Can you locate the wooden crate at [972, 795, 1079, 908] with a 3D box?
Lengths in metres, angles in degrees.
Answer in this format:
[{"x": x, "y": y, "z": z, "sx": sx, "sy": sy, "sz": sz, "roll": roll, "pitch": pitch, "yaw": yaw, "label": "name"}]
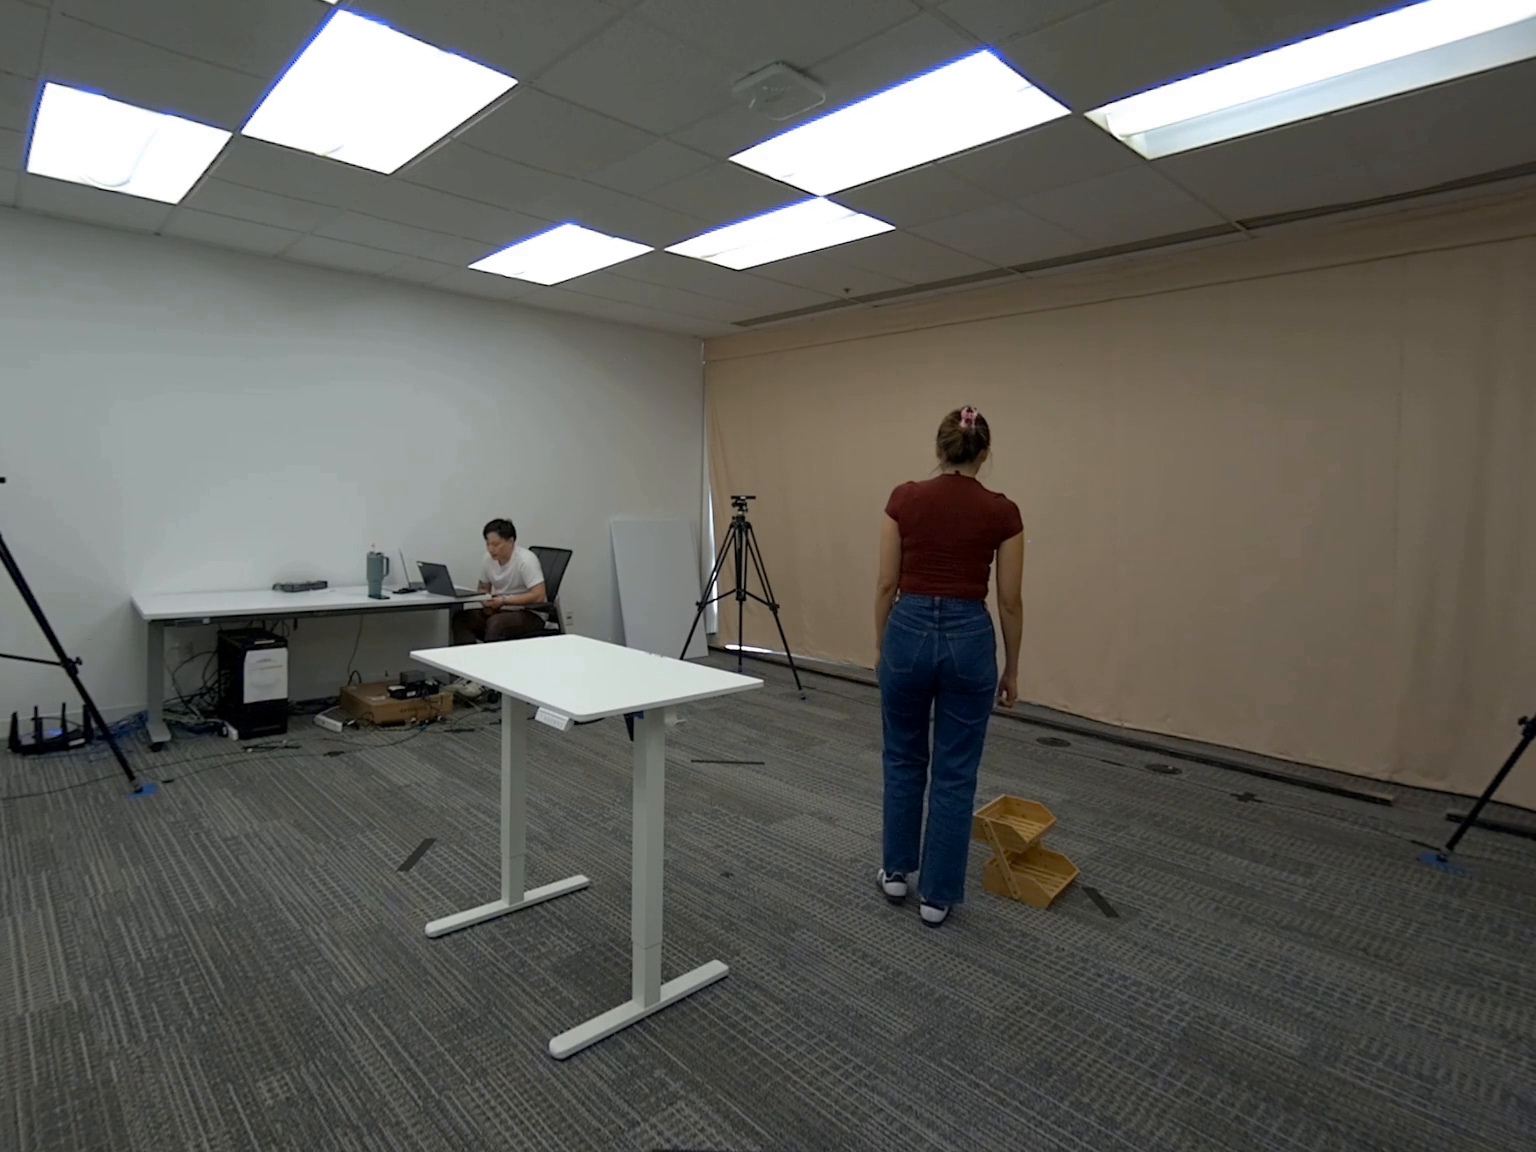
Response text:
[{"x": 0.940, "y": 0.999, "z": 3.090, "sx": 0.309, "sy": 0.272, "sz": 0.317, "roll": 4, "pitch": 5, "yaw": 38, "label": "wooden crate"}]
